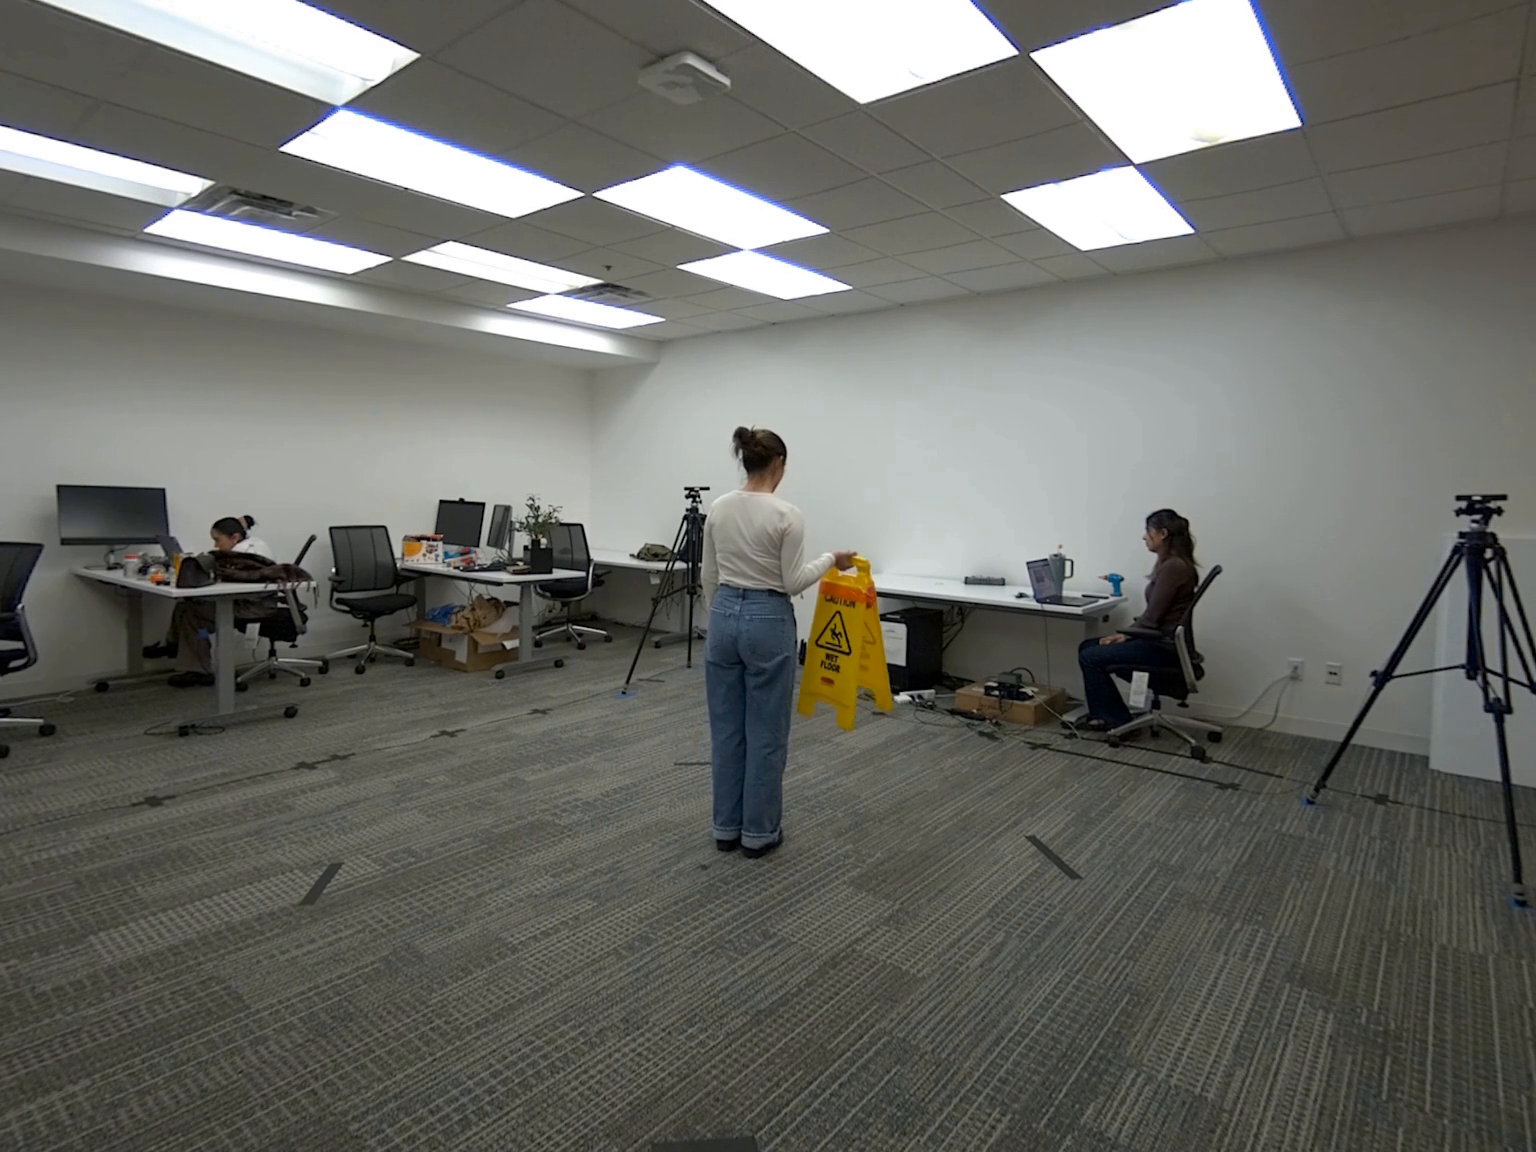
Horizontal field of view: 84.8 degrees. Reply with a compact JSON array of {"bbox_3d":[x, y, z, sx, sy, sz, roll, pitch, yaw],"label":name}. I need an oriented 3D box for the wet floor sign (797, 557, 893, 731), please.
[{"bbox_3d":[0.297,0.225,3.372,0.292,0.639,0.282,9,15,43],"label":"wet floor sign"}]
